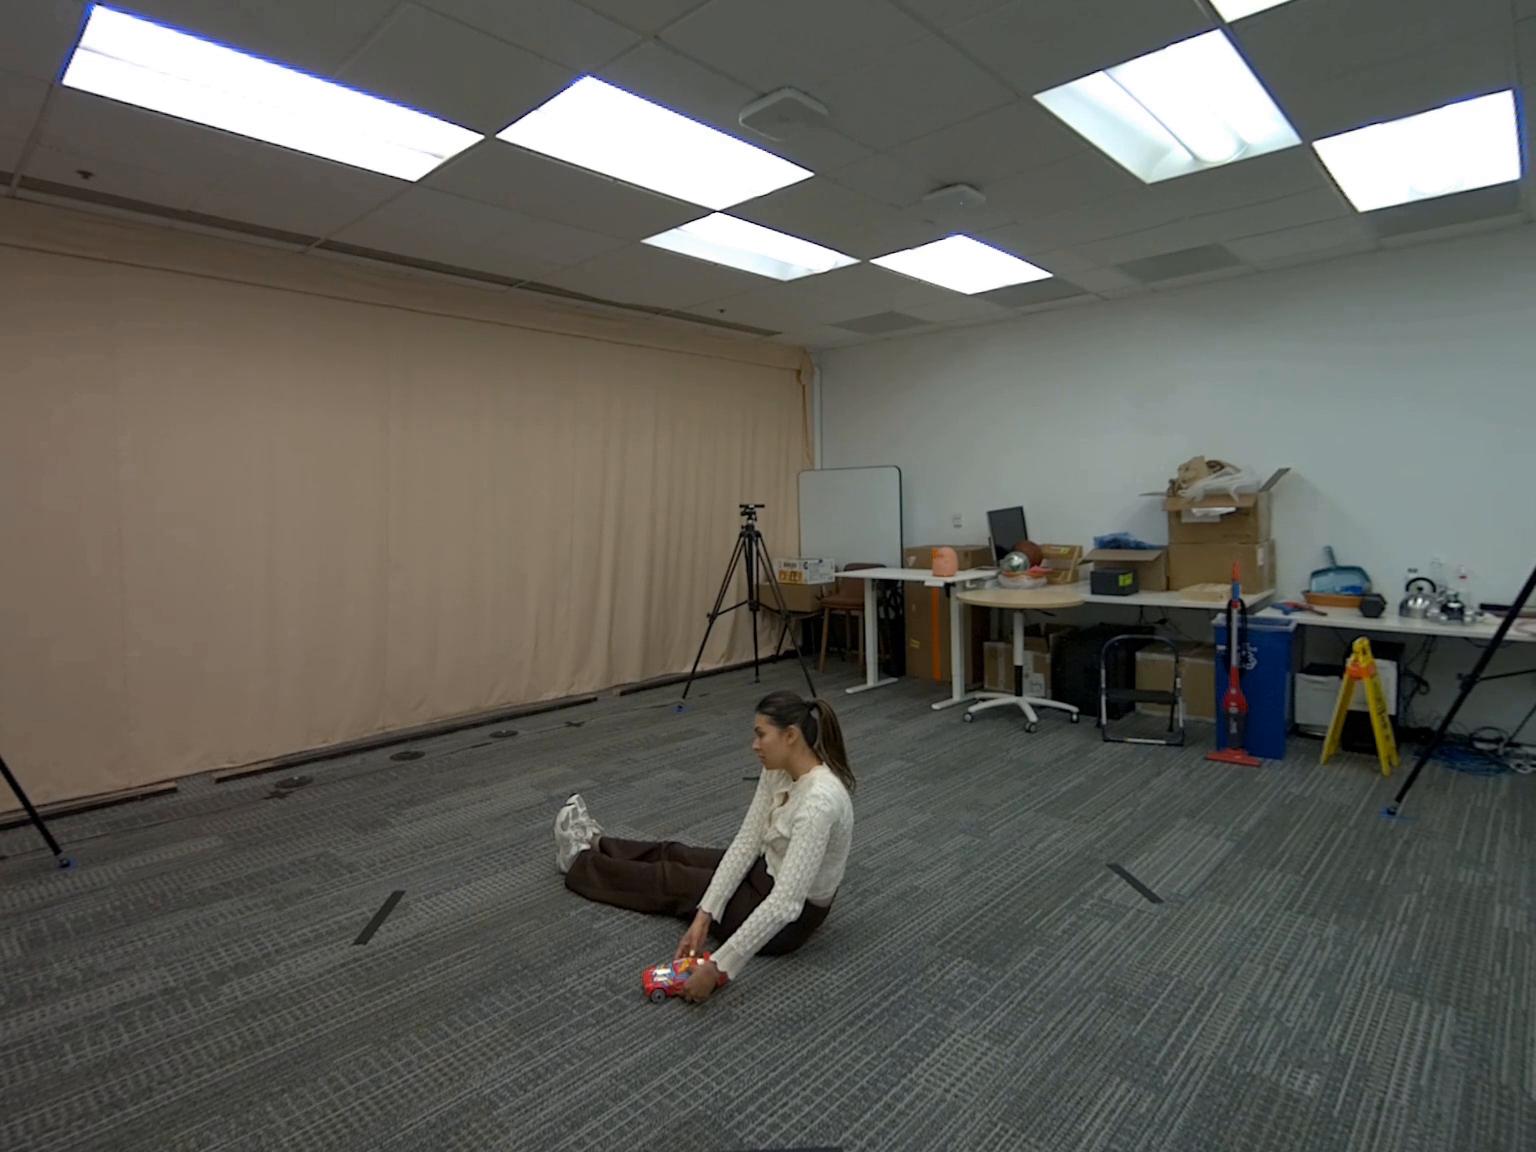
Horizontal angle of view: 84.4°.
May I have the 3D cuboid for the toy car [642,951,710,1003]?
[{"bbox_3d":[-0.235,1.159,2.426,0.251,0.083,0.133,-14,8,-15],"label":"toy car"}]
